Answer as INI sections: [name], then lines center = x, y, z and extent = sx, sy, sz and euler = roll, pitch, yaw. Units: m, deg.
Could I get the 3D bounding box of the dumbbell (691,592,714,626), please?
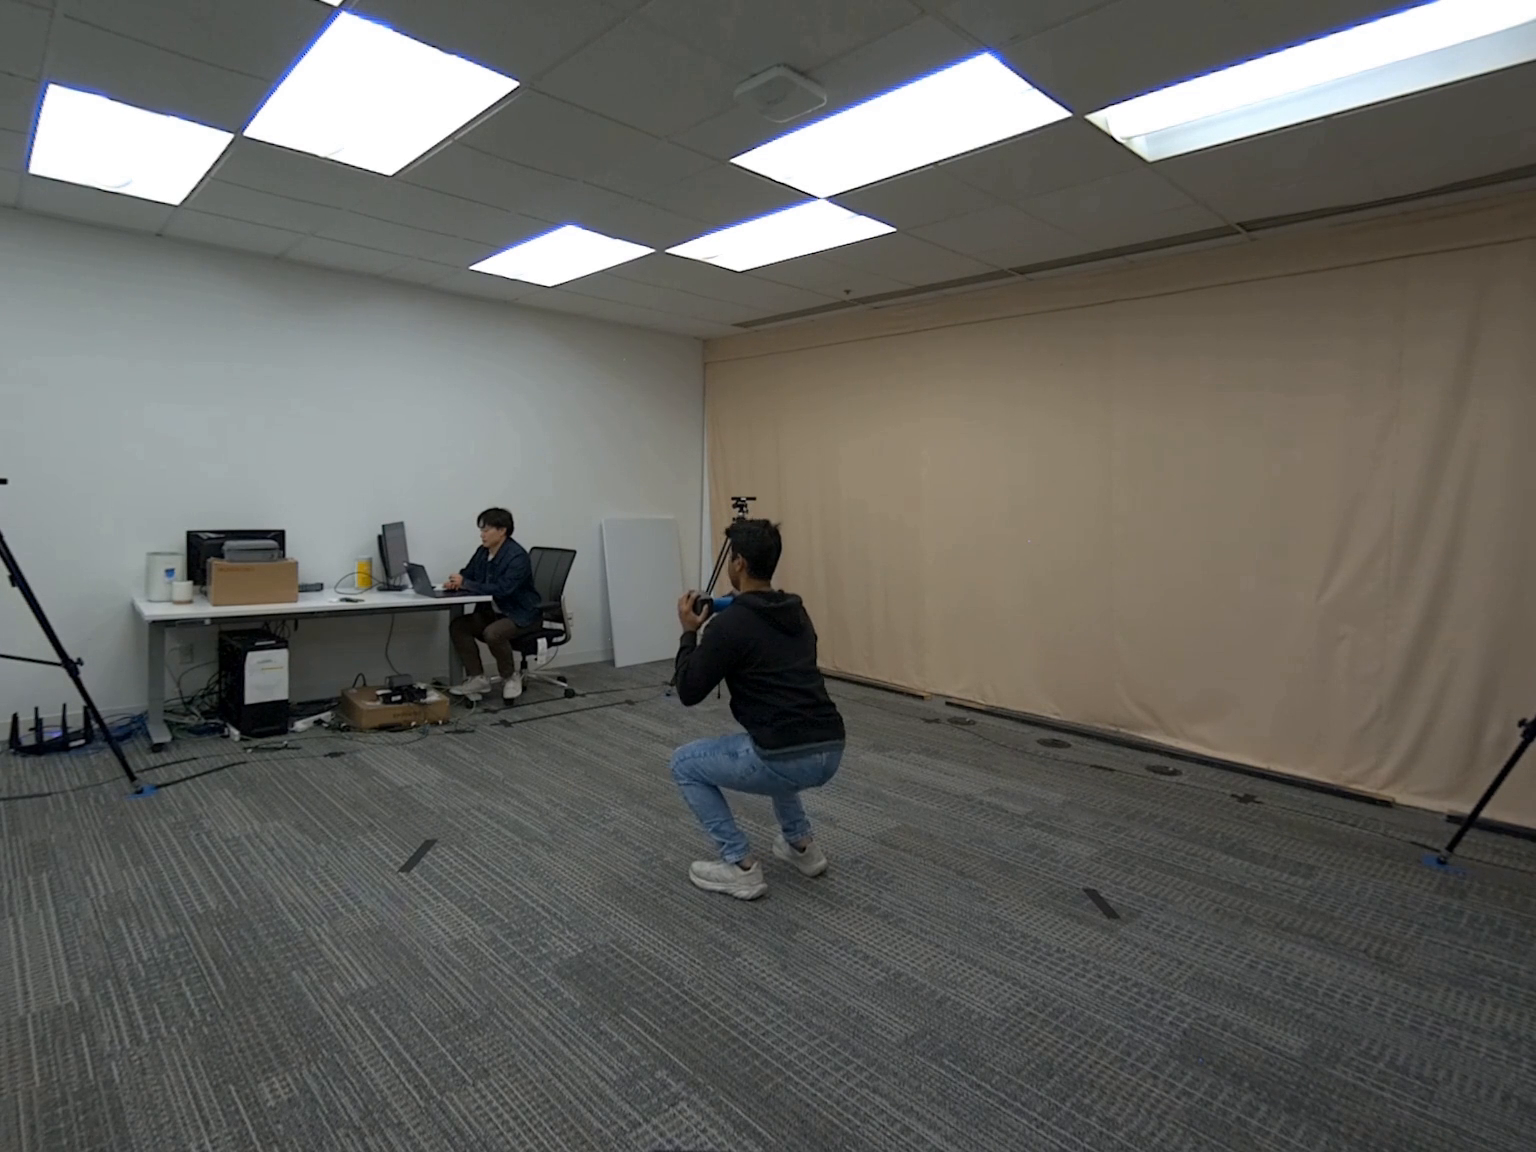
[dumbbell]
center = -0.182, 0.114, 3.256
extent = 0.287, 0.123, 0.111
euler = -5, 3, -44
